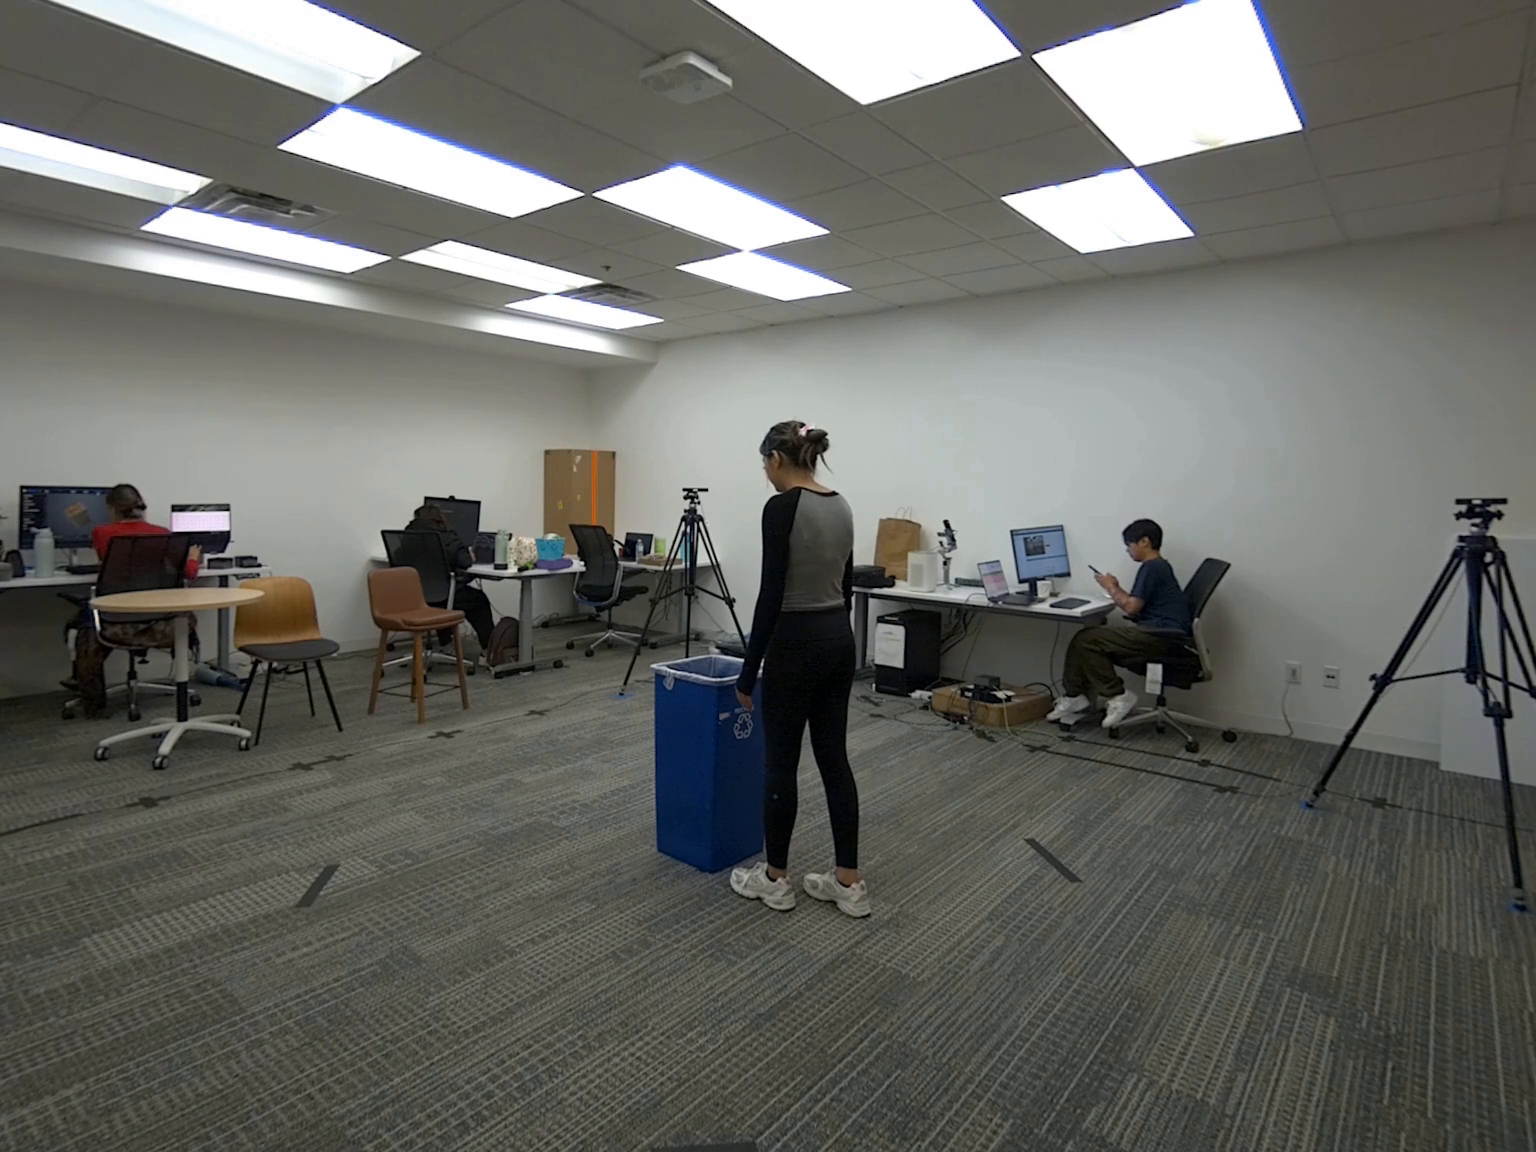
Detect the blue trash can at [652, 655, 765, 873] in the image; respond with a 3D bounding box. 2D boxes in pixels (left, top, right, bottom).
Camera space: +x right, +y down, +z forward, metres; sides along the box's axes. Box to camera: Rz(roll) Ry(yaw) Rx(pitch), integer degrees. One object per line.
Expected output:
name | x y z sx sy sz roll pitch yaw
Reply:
blue trash can | -0.224 0.696 3.267 0.391 0.711 0.363 4 5 40
